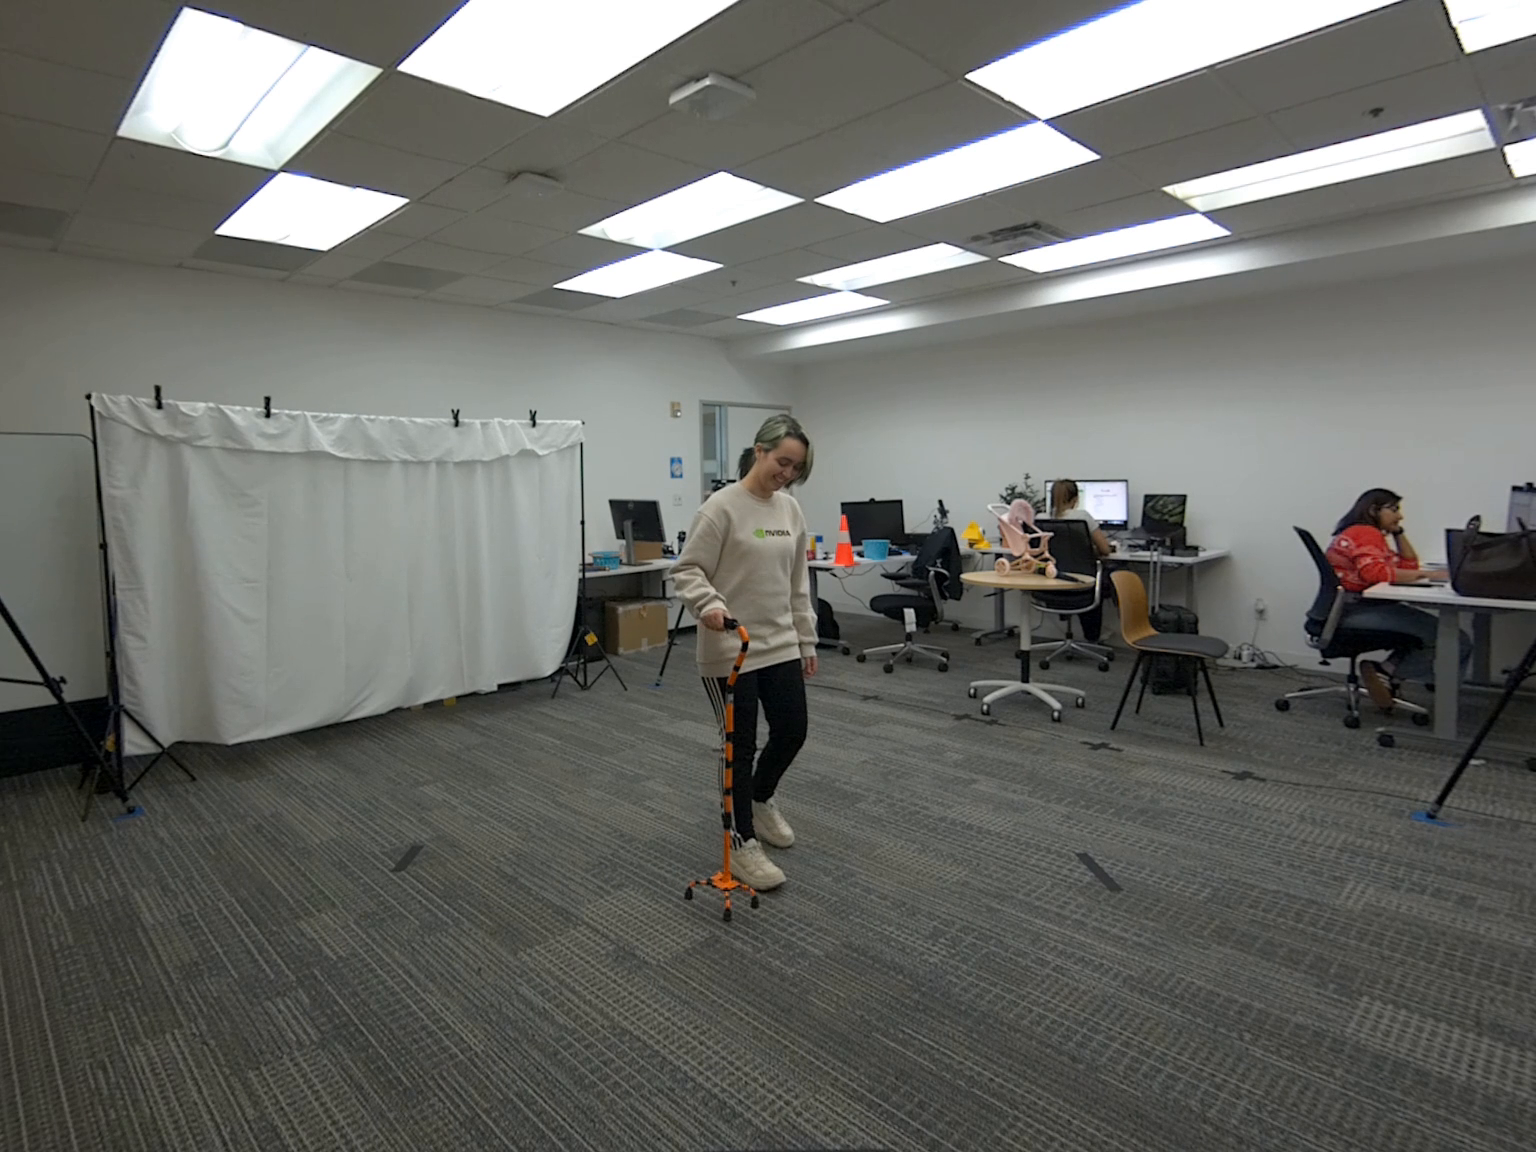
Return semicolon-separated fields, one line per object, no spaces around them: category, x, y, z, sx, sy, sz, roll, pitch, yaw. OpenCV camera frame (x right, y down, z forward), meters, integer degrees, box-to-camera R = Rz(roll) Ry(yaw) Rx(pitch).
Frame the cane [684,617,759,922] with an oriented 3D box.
cane;-0.135;0.601;2.676;0.213;0.903;0.147;7;8;42
